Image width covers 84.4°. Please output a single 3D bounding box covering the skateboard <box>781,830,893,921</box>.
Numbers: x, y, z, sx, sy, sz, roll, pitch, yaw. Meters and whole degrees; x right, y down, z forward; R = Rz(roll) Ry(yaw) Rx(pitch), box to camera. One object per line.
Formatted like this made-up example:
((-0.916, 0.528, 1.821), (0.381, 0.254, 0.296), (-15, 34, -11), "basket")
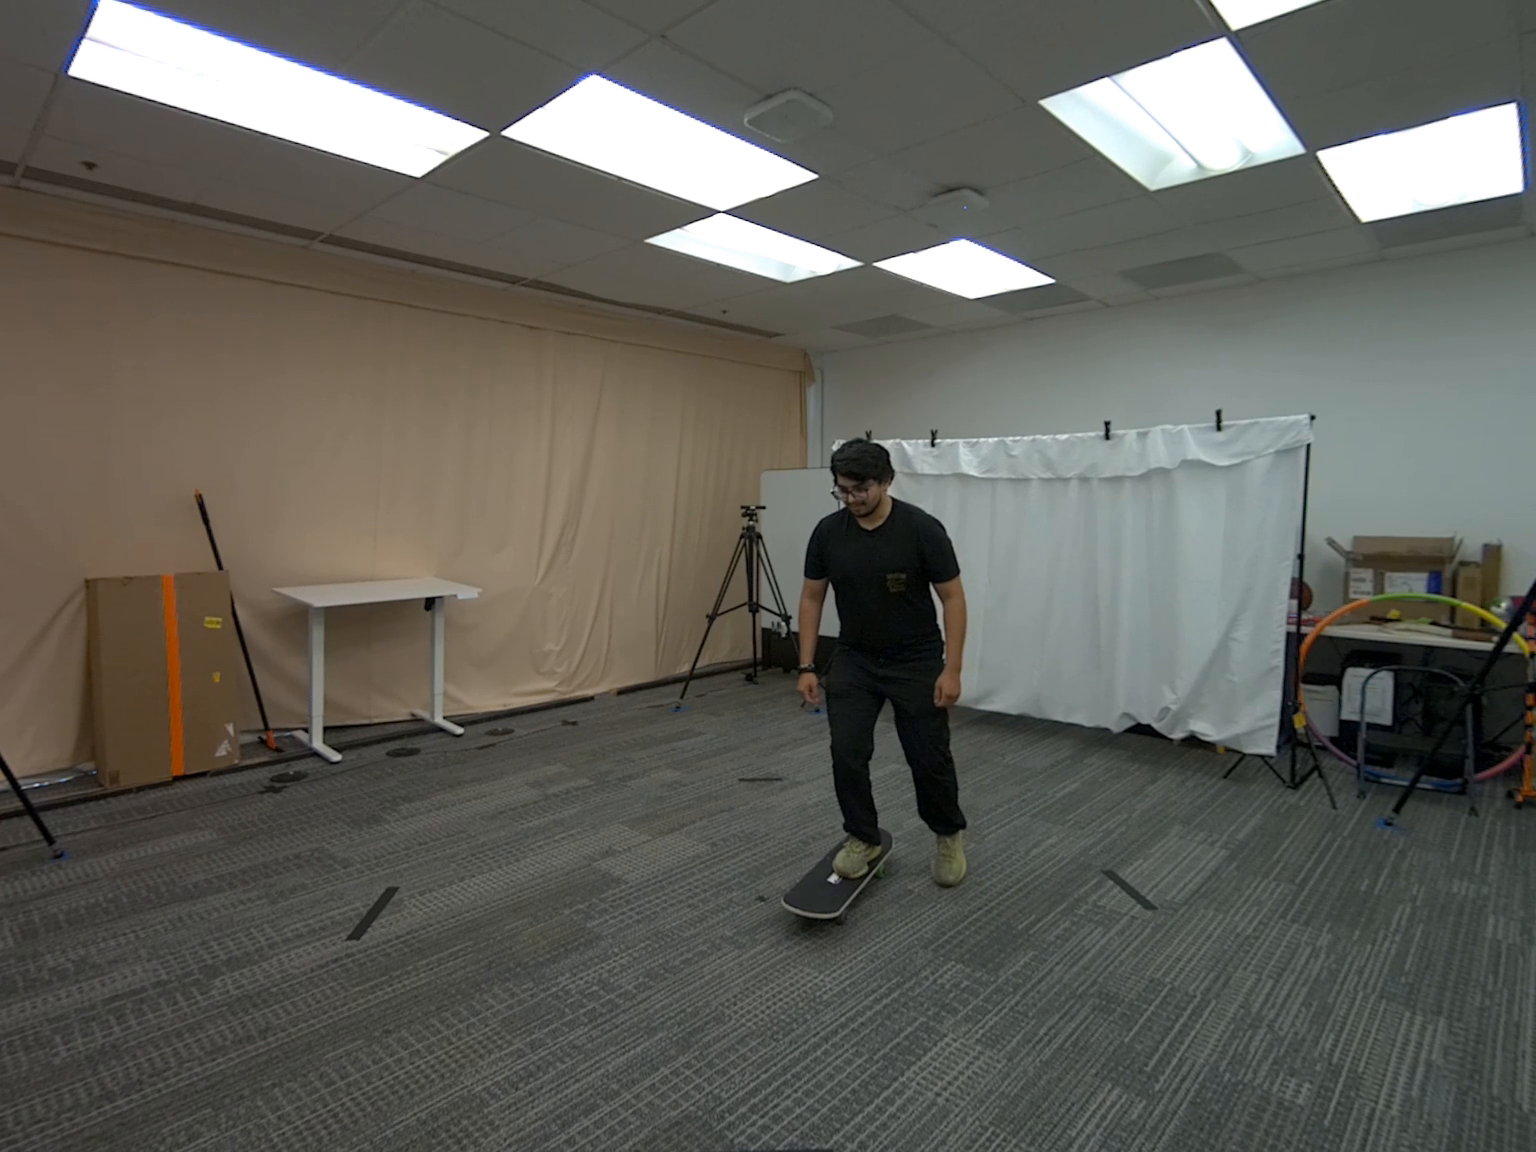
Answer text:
((0.275, 1.089, 3.010), (0.199, 0.110, 0.766), (6, 7, 26), "skateboard")
